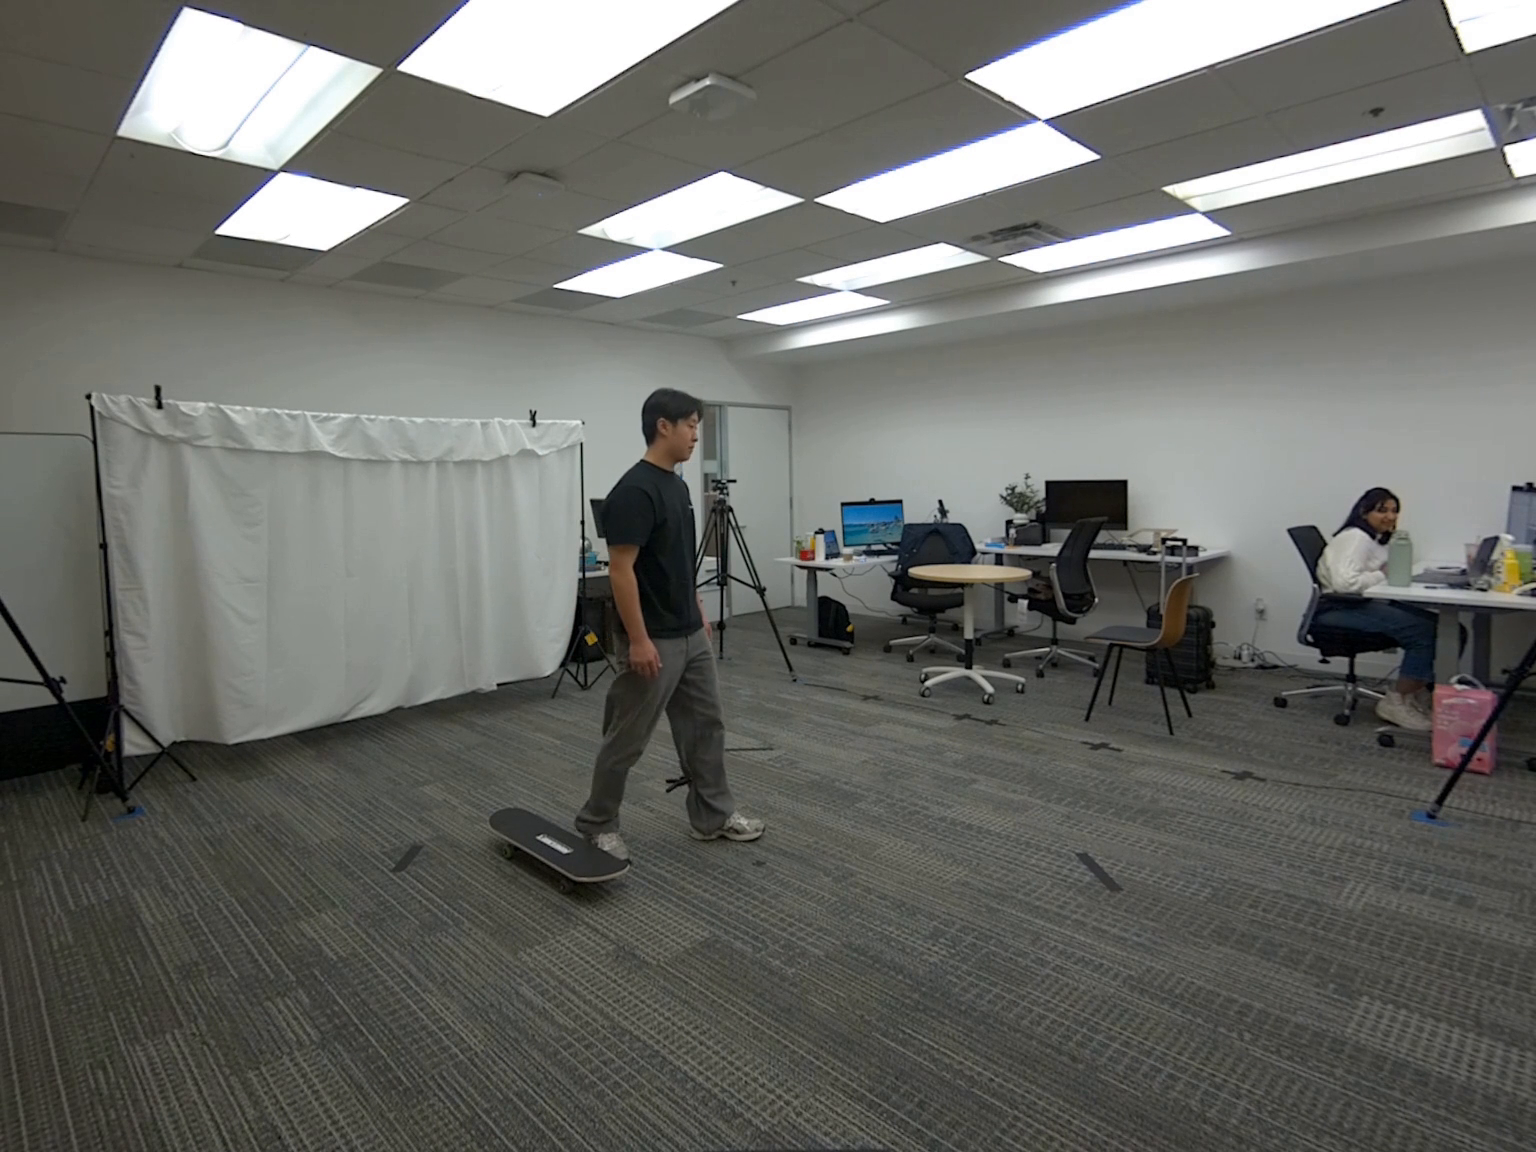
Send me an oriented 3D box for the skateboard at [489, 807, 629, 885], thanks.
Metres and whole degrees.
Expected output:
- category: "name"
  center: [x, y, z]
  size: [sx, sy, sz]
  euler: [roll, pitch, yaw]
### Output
- category: "skateboard"
  center: [-0.779, 1.010, 3.107]
  size: [0.188, 0.110, 0.809]
  euler: [-8, 8, -44]
